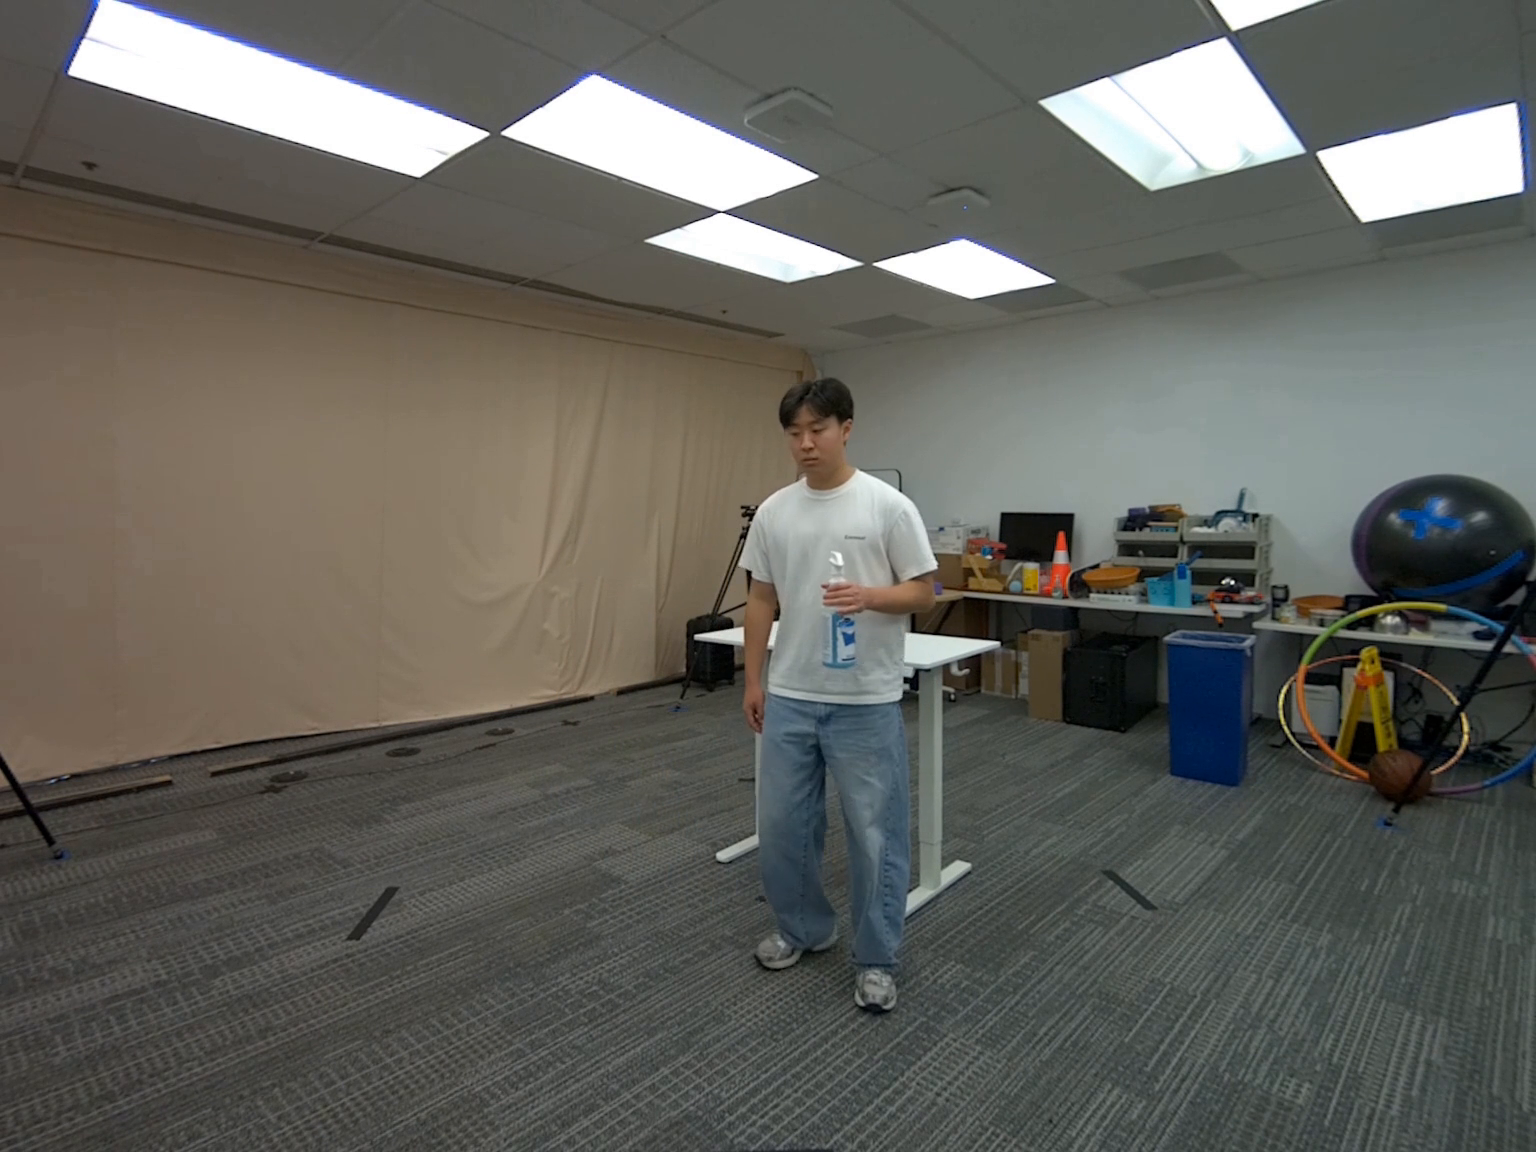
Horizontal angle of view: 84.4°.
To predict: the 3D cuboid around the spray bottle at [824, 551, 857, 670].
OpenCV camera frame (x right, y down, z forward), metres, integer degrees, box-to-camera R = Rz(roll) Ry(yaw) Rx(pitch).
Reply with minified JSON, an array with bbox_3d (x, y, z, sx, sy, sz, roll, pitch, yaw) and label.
[{"bbox_3d":[0.173,0.093,2.195,0.088,0.297,0.089,2,3,14],"label":"spray bottle"}]
